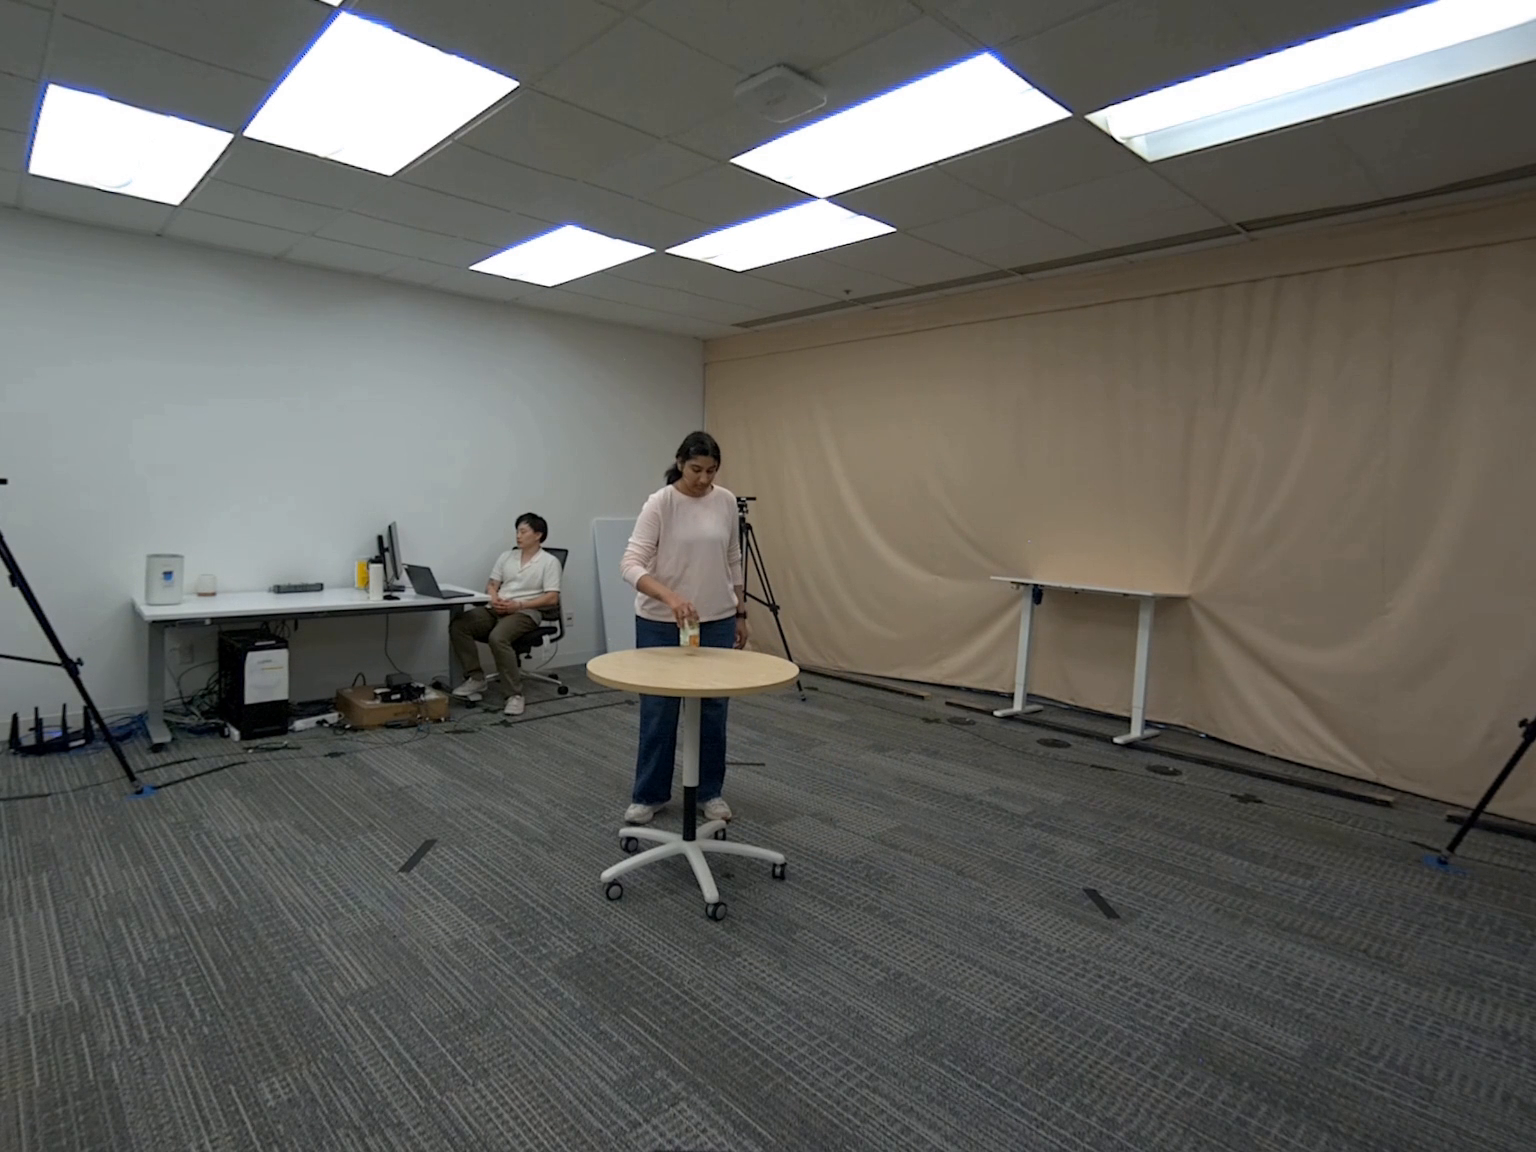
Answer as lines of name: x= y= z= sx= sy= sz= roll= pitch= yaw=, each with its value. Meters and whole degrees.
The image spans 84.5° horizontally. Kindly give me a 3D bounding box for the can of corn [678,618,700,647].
can of corn: x=-0.319 y=0.218 z=3.251 sx=0.074 sy=0.111 sz=0.074 roll=2 pitch=2 yaw=-1
